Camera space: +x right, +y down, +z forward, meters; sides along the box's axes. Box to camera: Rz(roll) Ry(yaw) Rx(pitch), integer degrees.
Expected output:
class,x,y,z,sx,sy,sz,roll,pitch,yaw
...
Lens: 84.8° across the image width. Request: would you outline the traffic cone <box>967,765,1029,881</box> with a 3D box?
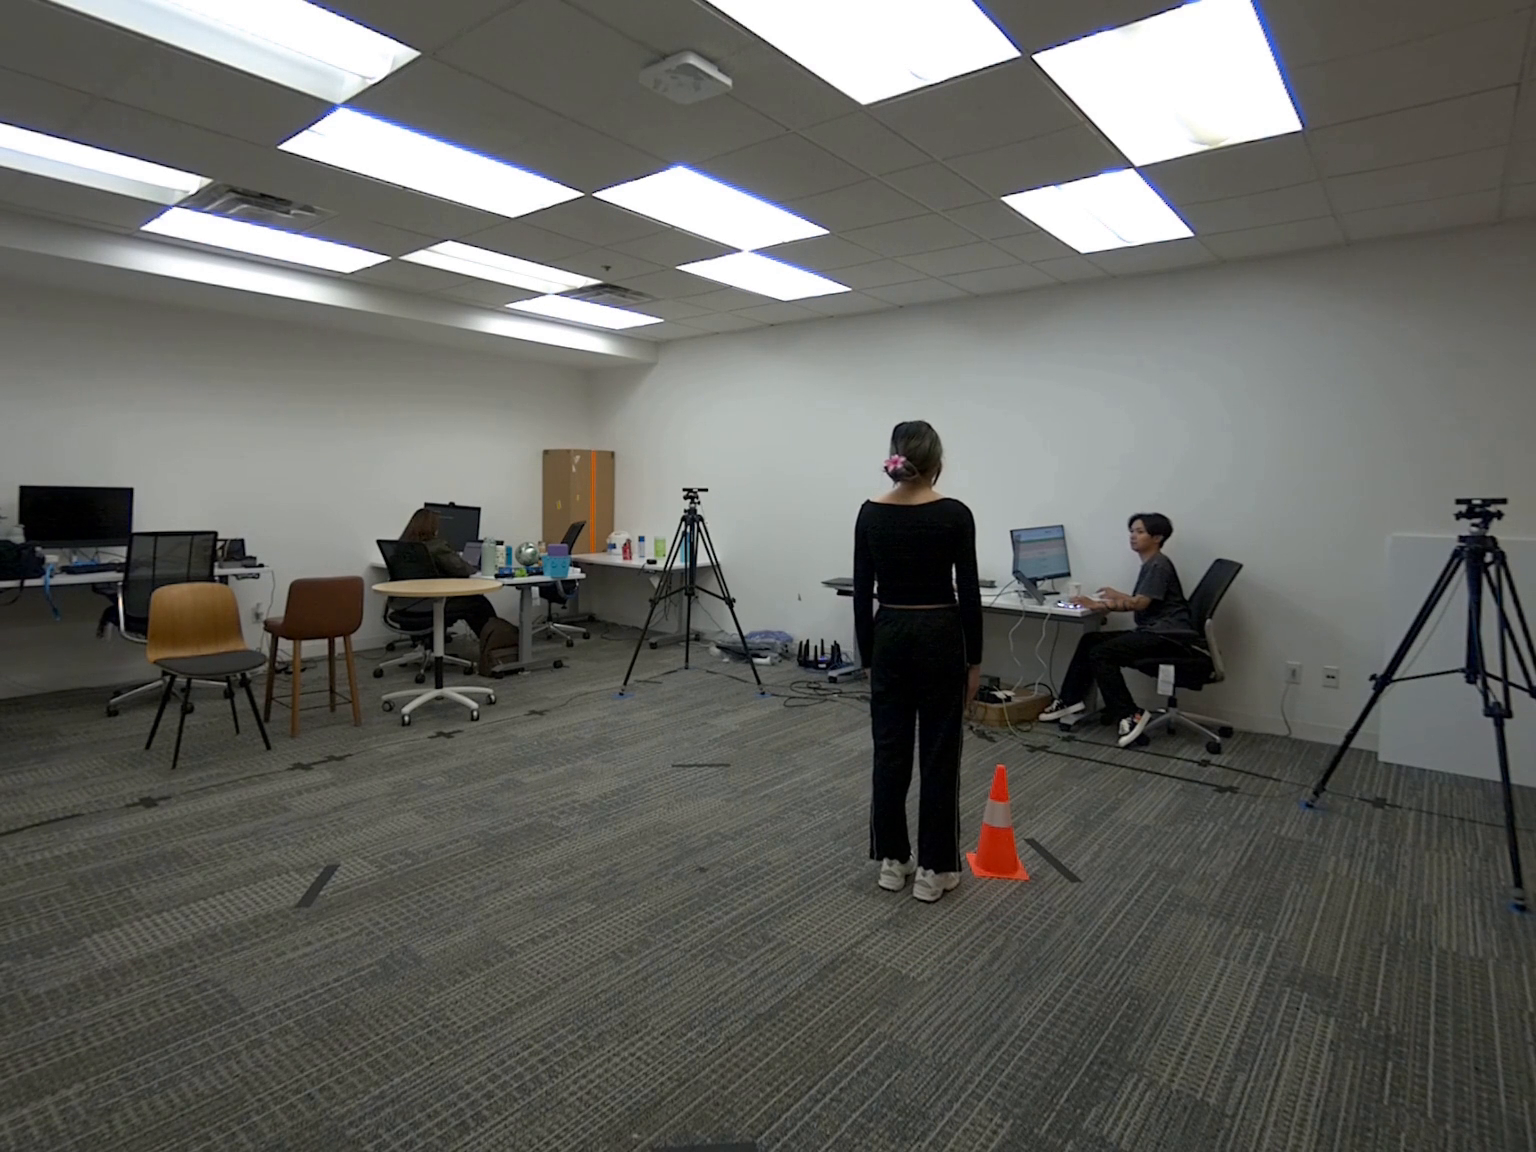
class,x,y,z,sx,sy,sz,roll,pitch,yaw
traffic cone,0.862,0.899,3.189,0.206,0.382,0.204,2,5,2
